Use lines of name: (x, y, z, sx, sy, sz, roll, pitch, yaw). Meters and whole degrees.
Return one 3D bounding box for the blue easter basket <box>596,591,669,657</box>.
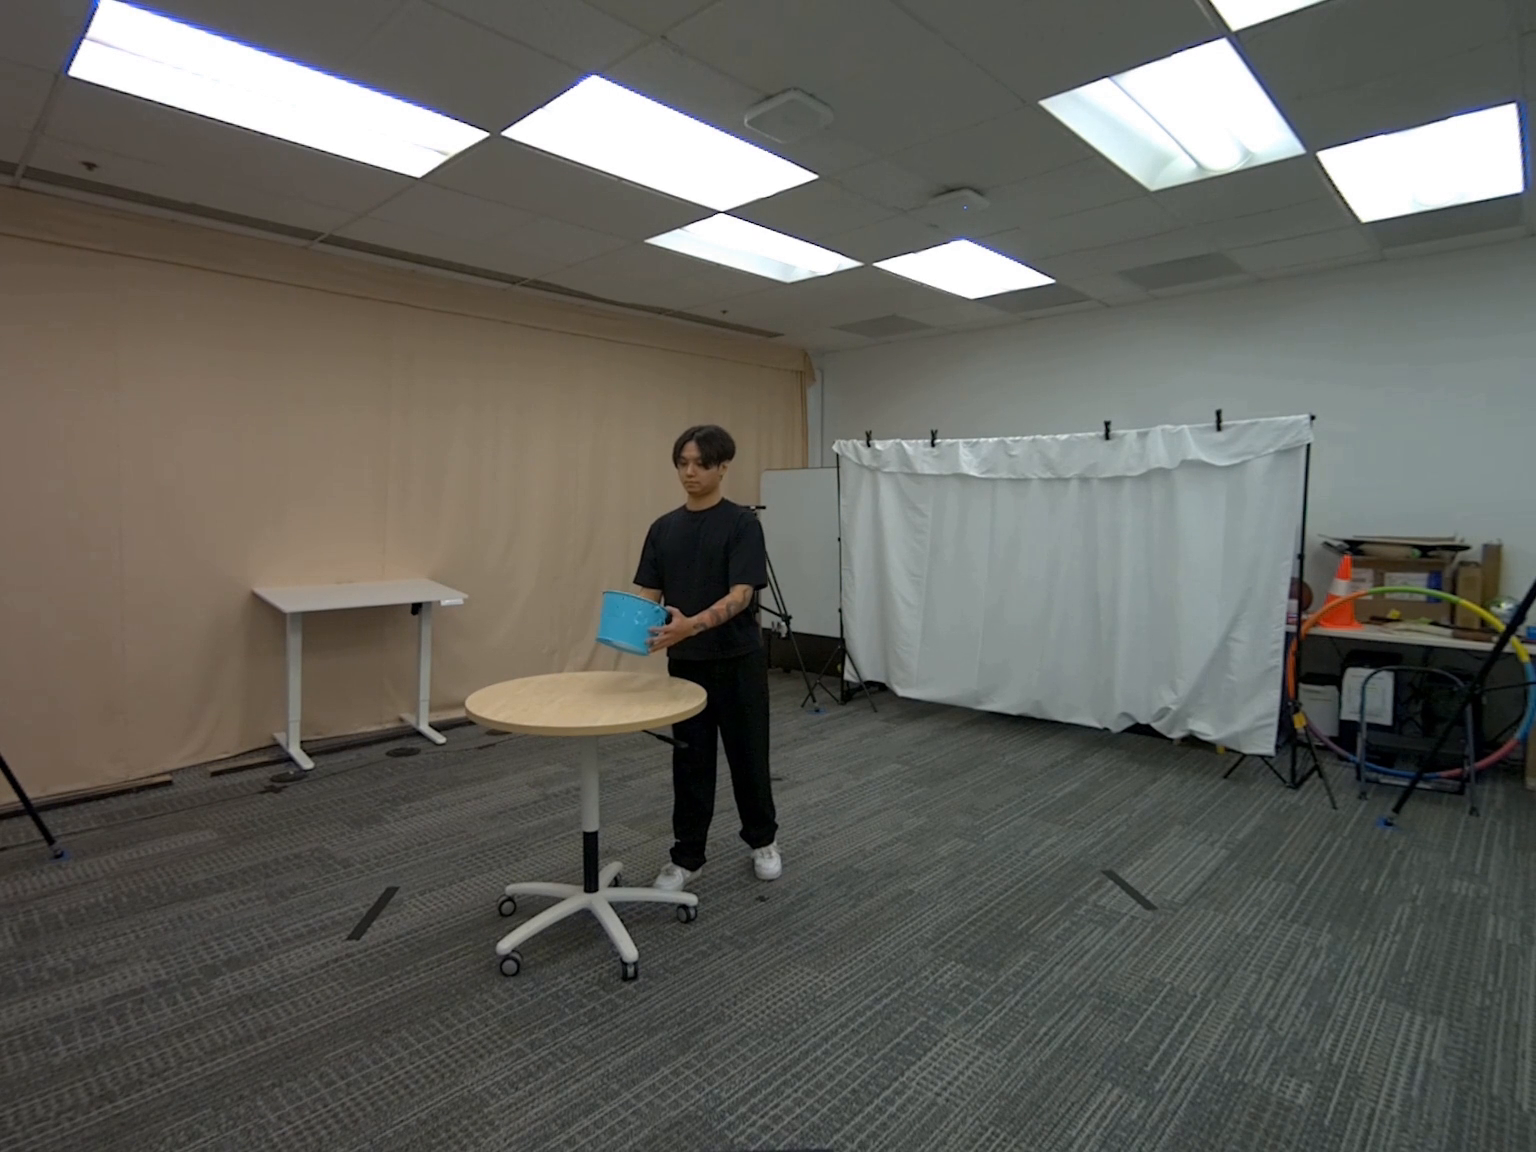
blue easter basket: (-0.435, 0.163, 2.764, 0.244, 0.156, 0.241, 15, -14, 2)
